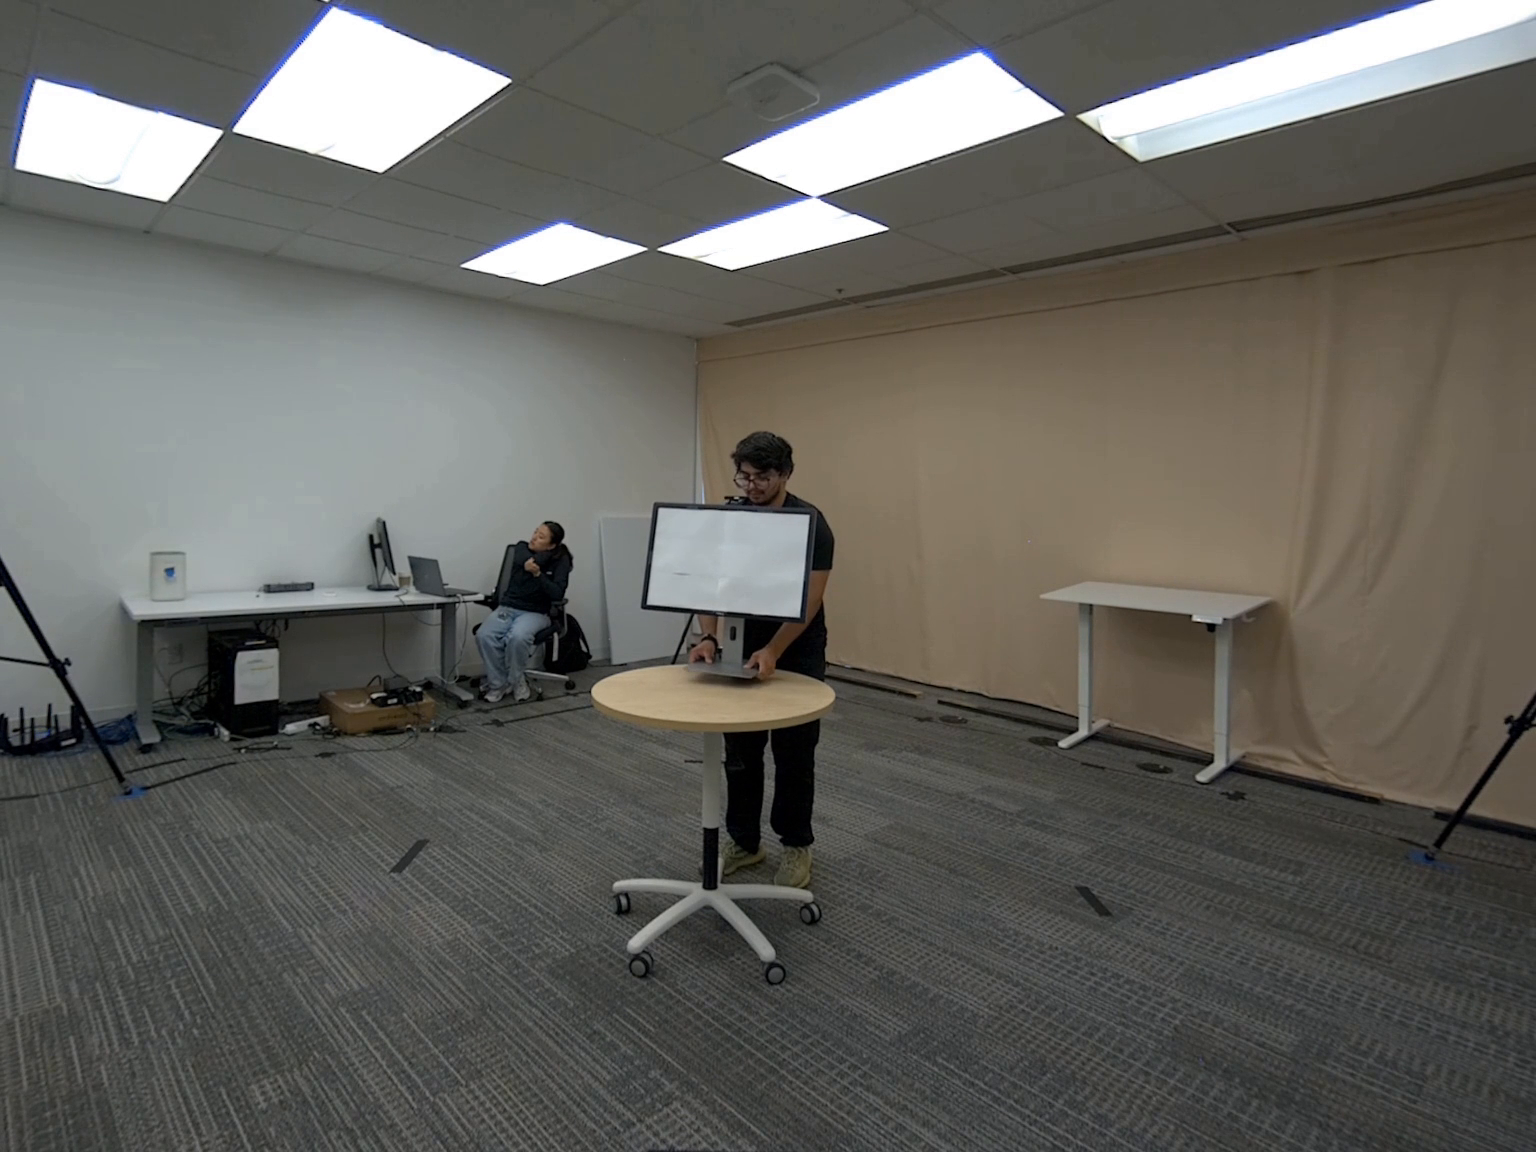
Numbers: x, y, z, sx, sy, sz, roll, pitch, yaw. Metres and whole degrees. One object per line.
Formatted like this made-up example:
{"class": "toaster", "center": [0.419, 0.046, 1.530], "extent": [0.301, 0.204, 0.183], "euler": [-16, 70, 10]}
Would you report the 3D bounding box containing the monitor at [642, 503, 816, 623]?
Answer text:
{"class": "monitor", "center": [-0.124, 0.044, 2.793], "extent": [0.574, 0.554, 0.207], "euler": [3, -1, 19]}
